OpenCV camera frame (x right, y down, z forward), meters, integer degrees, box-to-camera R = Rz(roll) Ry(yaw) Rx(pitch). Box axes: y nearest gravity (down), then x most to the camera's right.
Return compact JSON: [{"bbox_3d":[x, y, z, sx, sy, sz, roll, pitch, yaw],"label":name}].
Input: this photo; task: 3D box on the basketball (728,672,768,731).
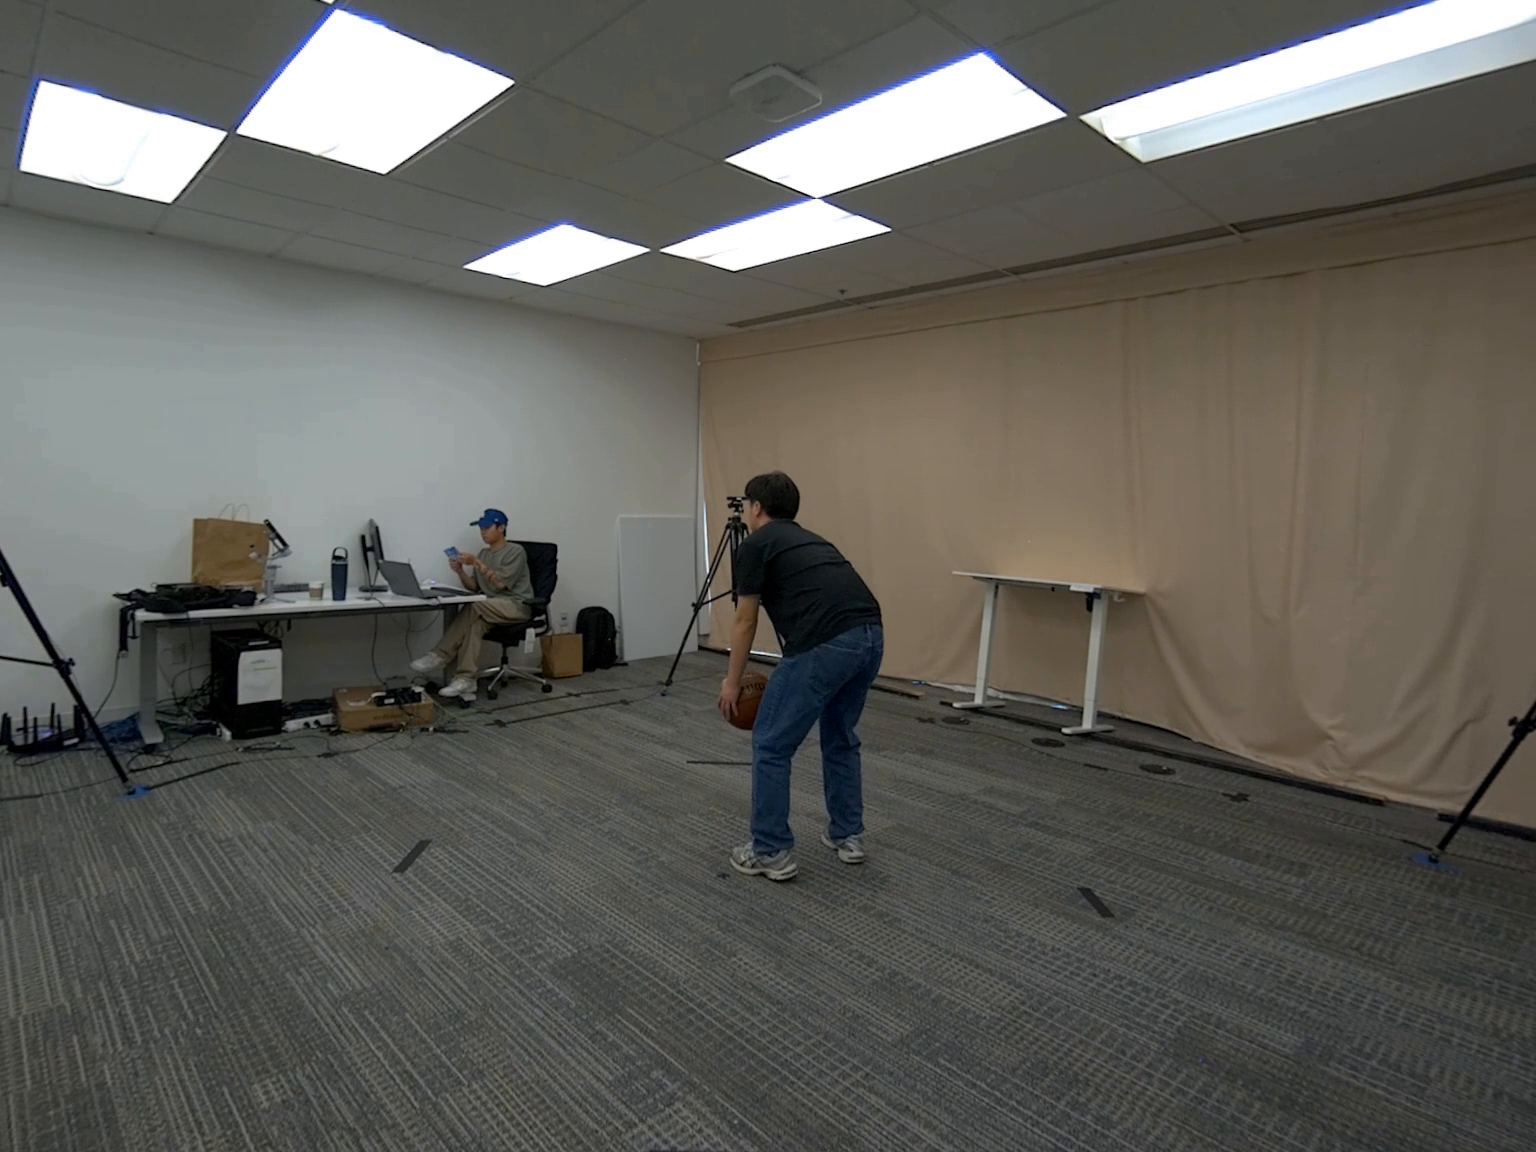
[{"bbox_3d":[-0.073,0.514,3.440,0.236,0.235,0.237,1,4,-1],"label":"basketball"}]
